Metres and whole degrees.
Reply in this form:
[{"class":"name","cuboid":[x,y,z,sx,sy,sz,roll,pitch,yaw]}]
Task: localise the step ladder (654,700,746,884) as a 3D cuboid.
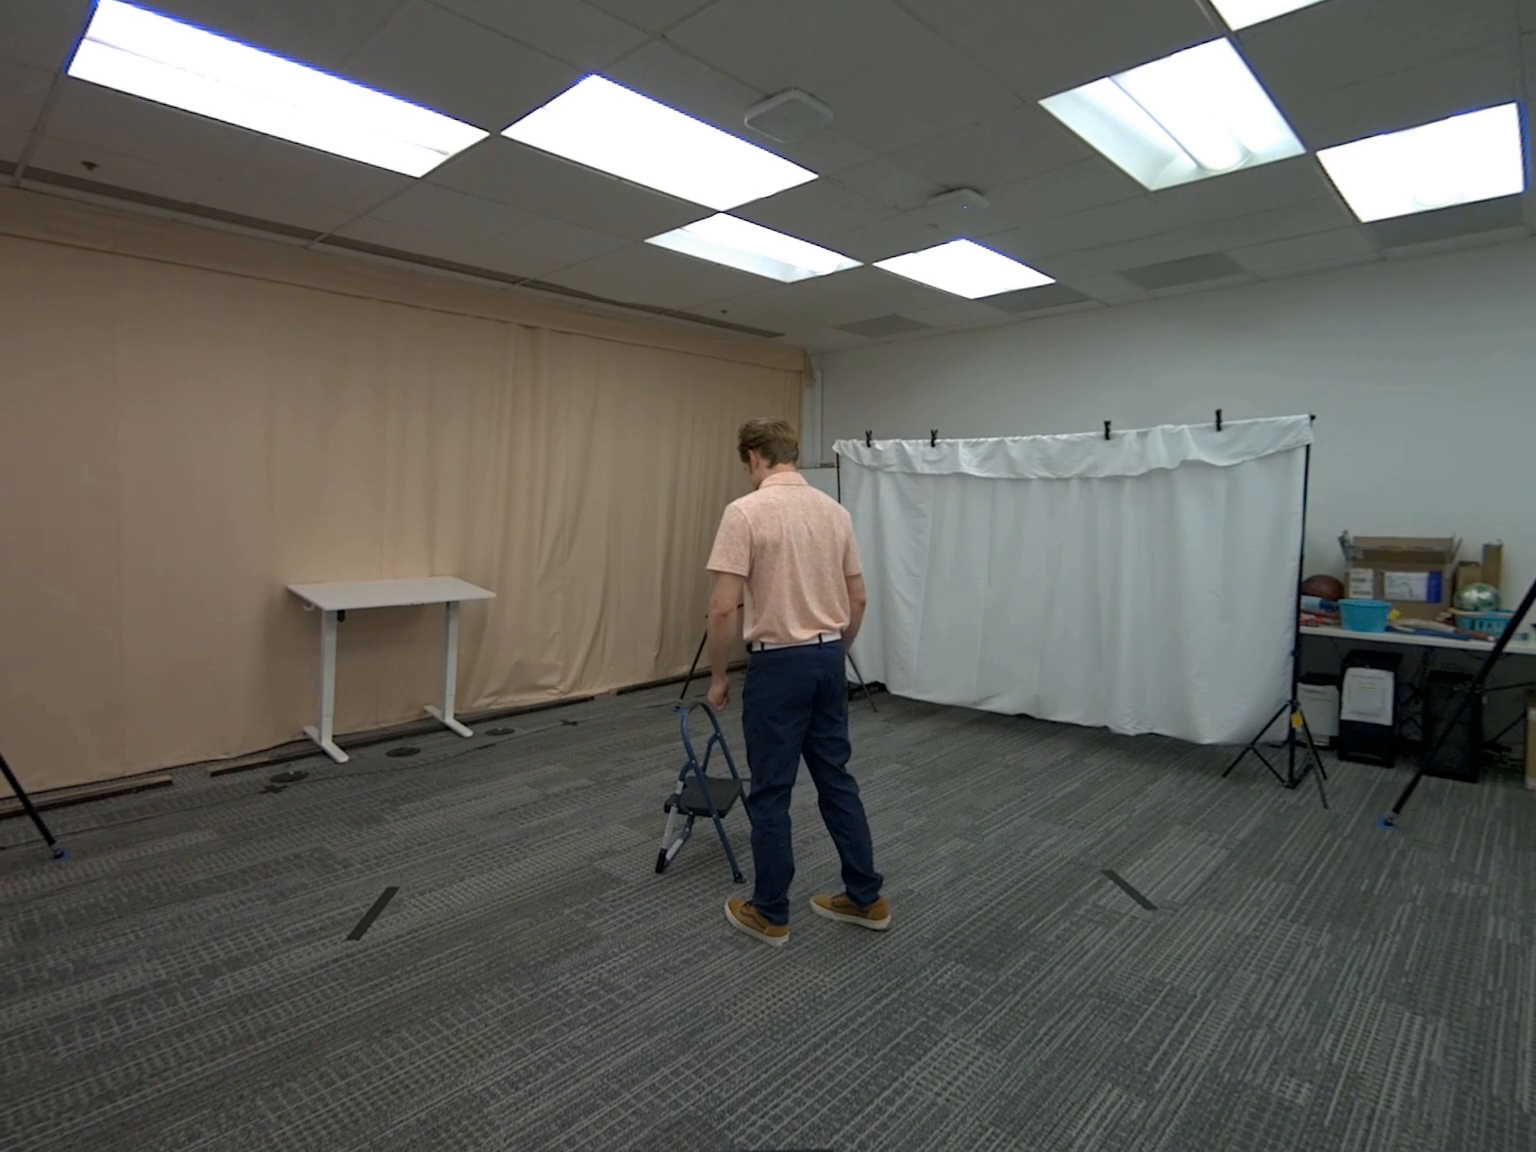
[{"class":"step ladder","cuboid":[-0.226,0.812,3.337,0.354,0.605,0.426,0,3,11]}]
